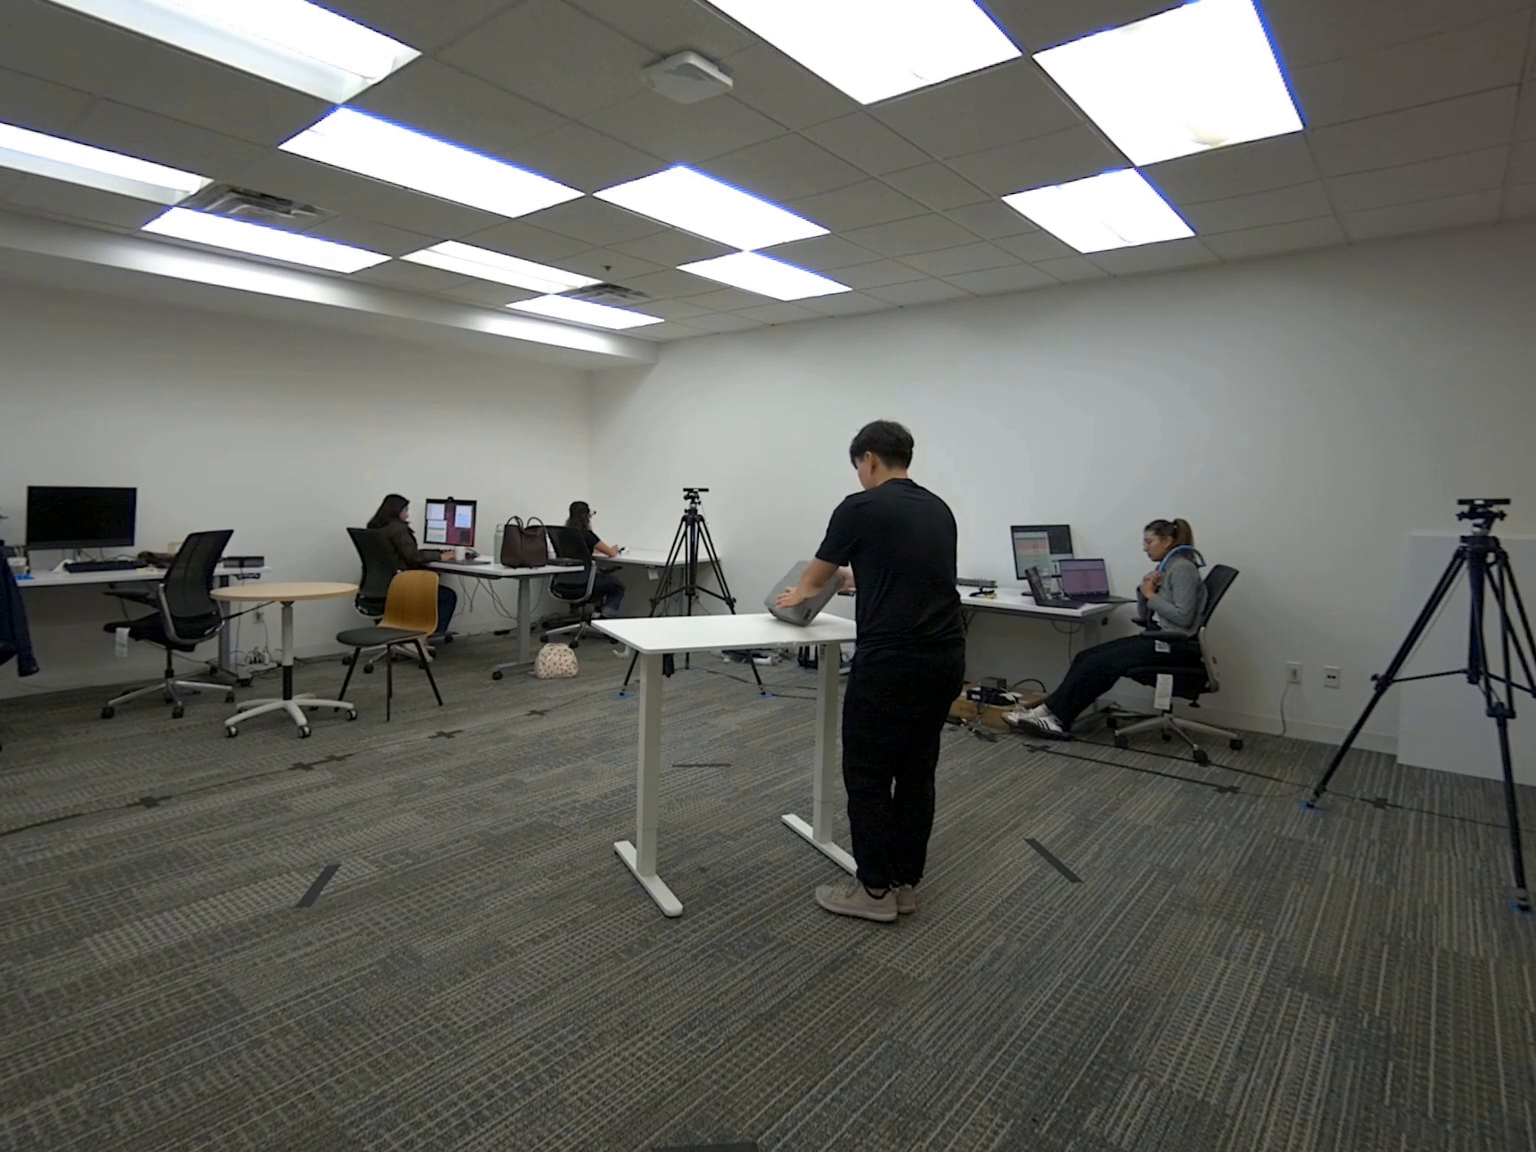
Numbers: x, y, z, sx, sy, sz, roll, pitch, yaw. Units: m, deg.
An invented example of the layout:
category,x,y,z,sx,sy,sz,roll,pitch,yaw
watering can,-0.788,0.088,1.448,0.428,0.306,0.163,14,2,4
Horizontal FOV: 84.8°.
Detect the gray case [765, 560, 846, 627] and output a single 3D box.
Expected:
category,x,y,z,sx,sy,sz,roll,pitch,yaw
gray case,0.125,0.059,3.305,0.101,0.257,0.269,46,-17,-26
